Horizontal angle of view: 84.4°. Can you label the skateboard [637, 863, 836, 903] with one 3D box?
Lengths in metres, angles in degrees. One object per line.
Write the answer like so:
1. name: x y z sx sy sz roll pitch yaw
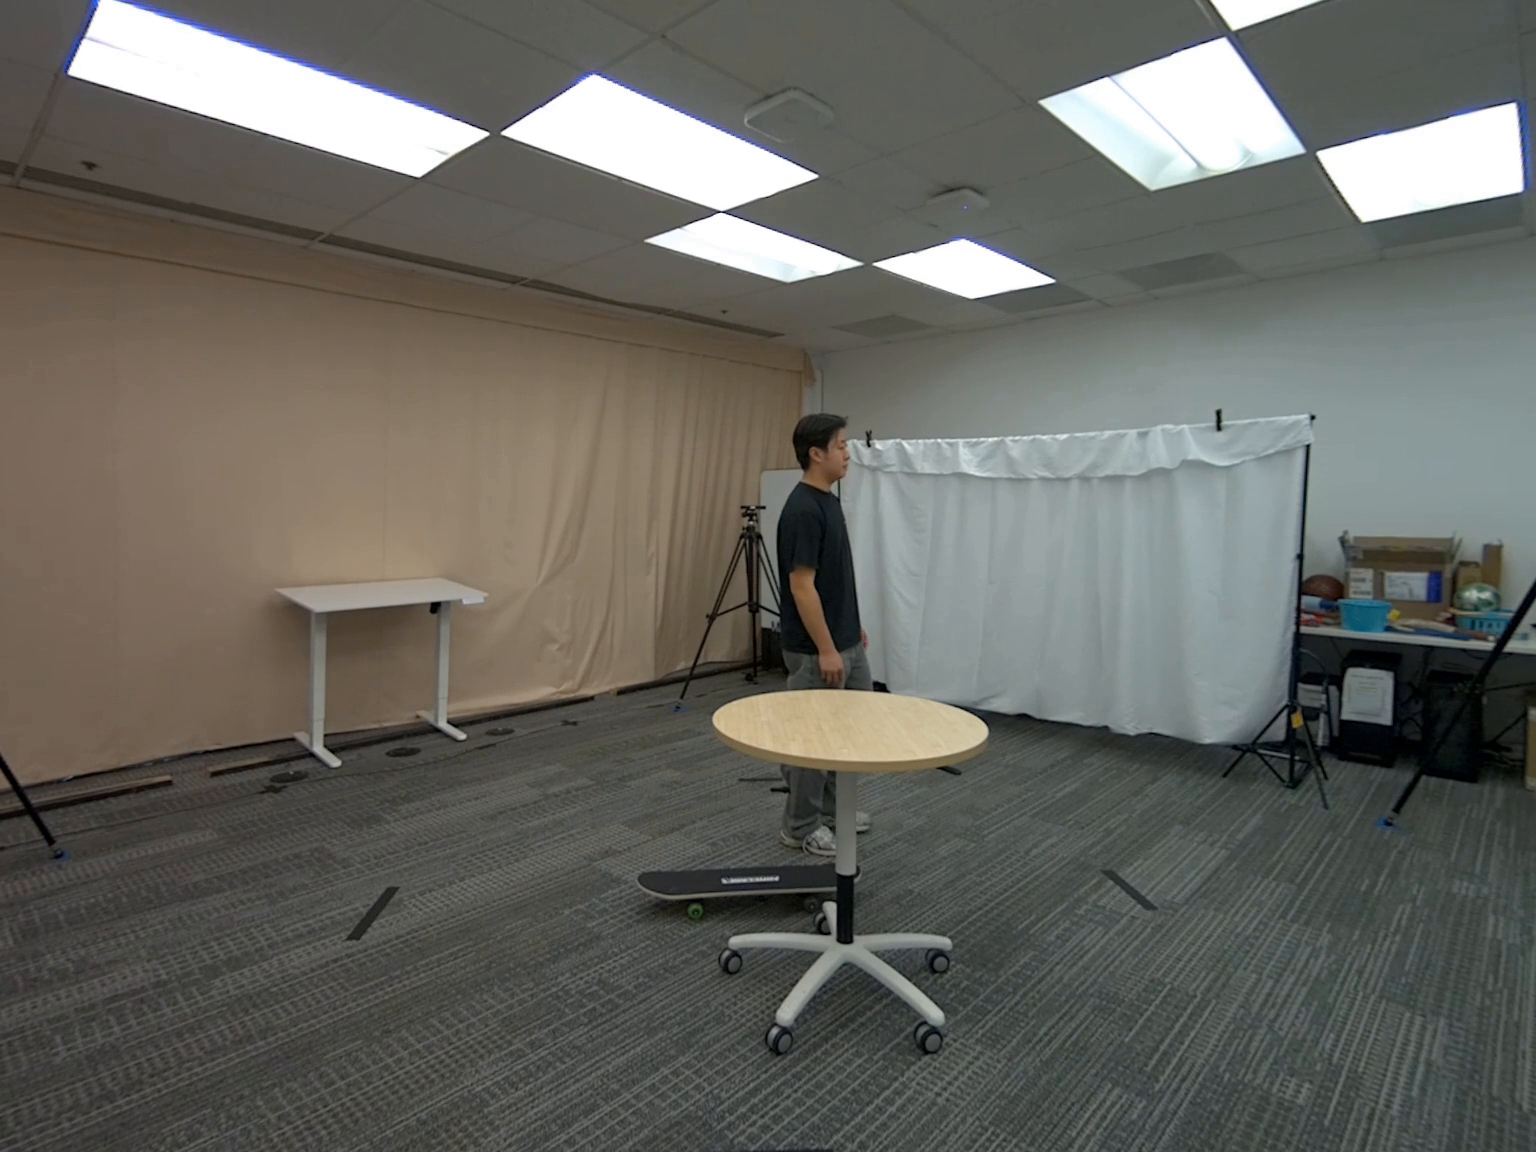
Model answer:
1. skateboard: -0.061 1.092 2.934 0.780 0.110 0.195 -1 5 -6
